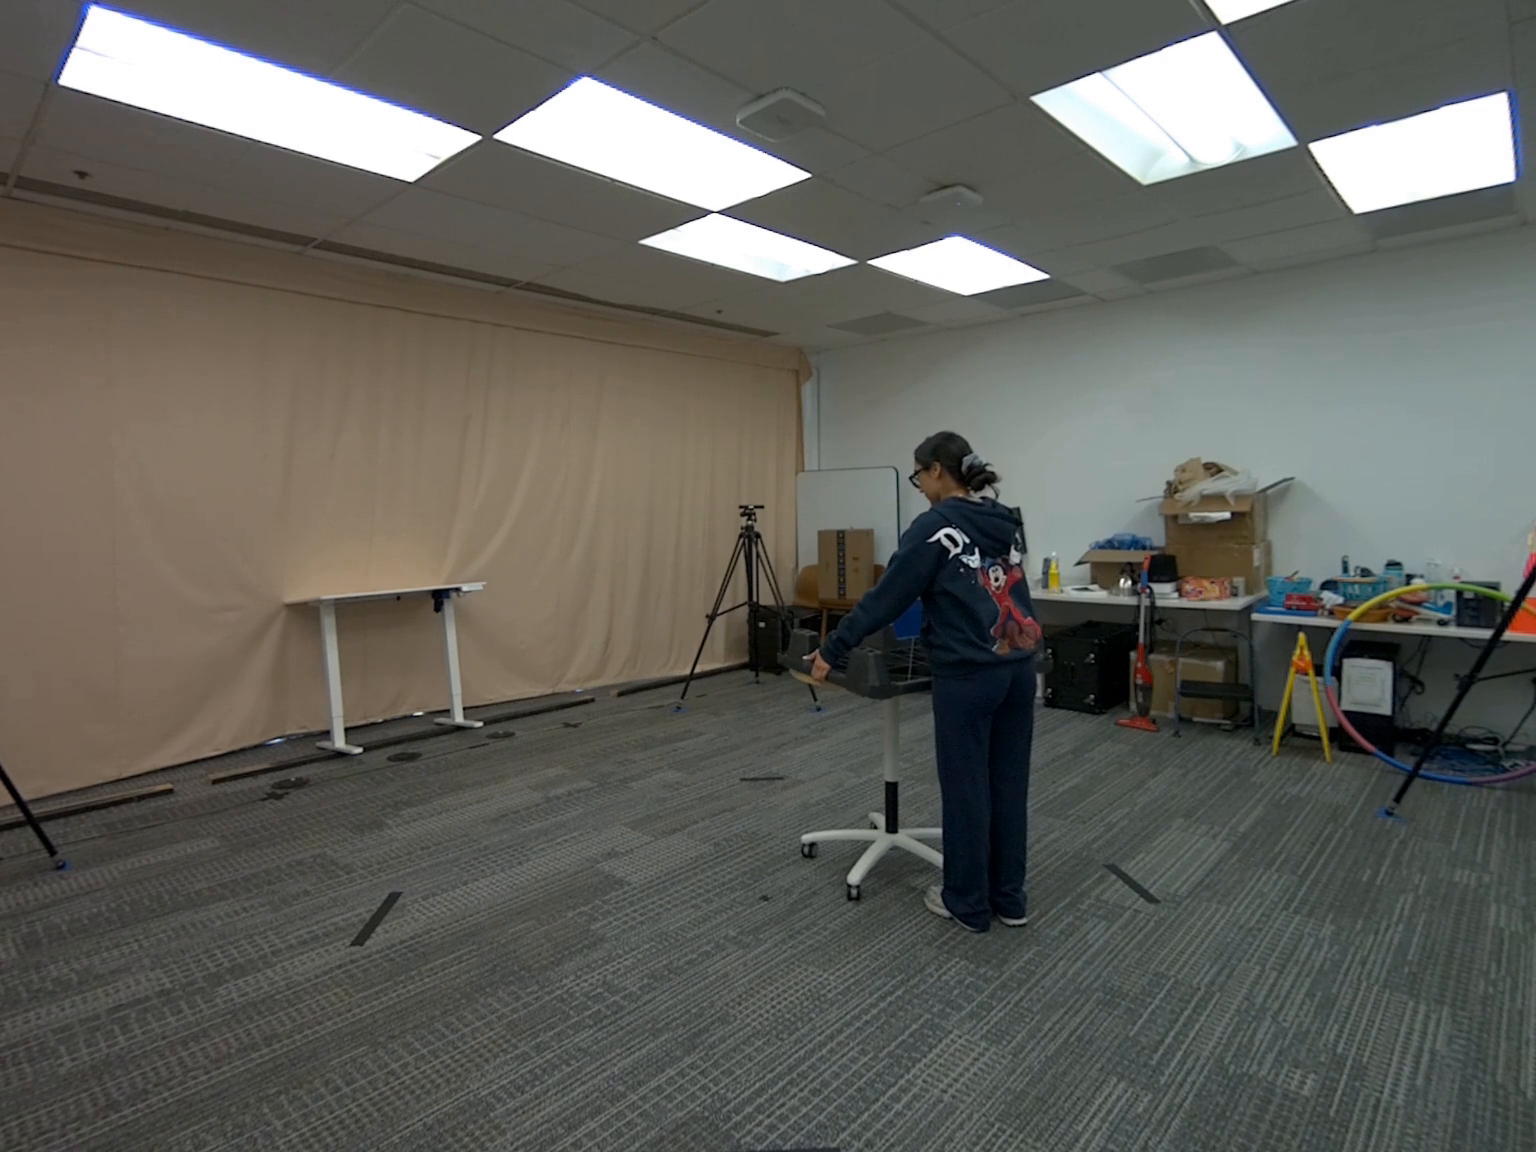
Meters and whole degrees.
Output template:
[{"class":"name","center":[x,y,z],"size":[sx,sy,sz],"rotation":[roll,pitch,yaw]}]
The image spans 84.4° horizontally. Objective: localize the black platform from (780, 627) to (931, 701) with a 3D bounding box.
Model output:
[{"class":"black platform","center":[0.522,0.268,3.075],"size":[0.785,0.143,0.623],"rotation":[-4,9,-28]}]
